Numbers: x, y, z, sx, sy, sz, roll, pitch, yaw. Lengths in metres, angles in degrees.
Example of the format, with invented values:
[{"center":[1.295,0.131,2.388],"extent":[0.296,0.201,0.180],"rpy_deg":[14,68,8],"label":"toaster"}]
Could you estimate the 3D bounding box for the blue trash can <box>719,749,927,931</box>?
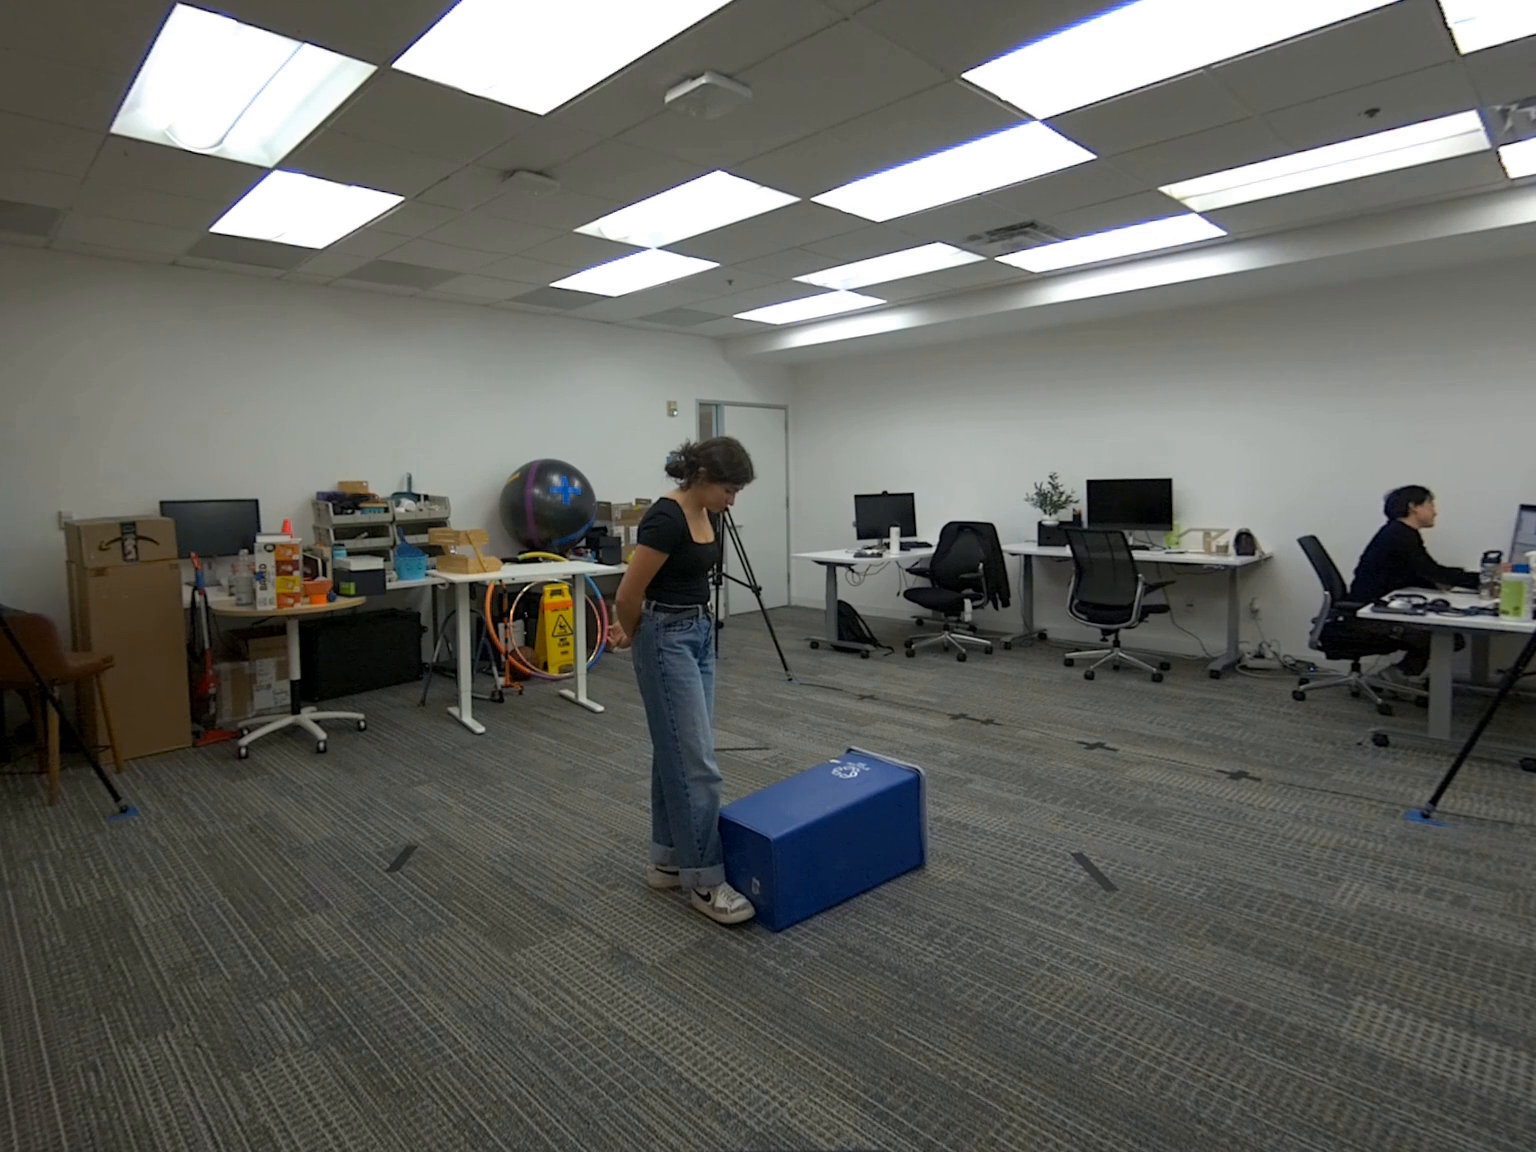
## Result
[{"center":[0.186,0.894,2.936],"extent":[0.696,0.376,0.385],"rpy_deg":[-10,10,-41],"label":"blue trash can"}]
